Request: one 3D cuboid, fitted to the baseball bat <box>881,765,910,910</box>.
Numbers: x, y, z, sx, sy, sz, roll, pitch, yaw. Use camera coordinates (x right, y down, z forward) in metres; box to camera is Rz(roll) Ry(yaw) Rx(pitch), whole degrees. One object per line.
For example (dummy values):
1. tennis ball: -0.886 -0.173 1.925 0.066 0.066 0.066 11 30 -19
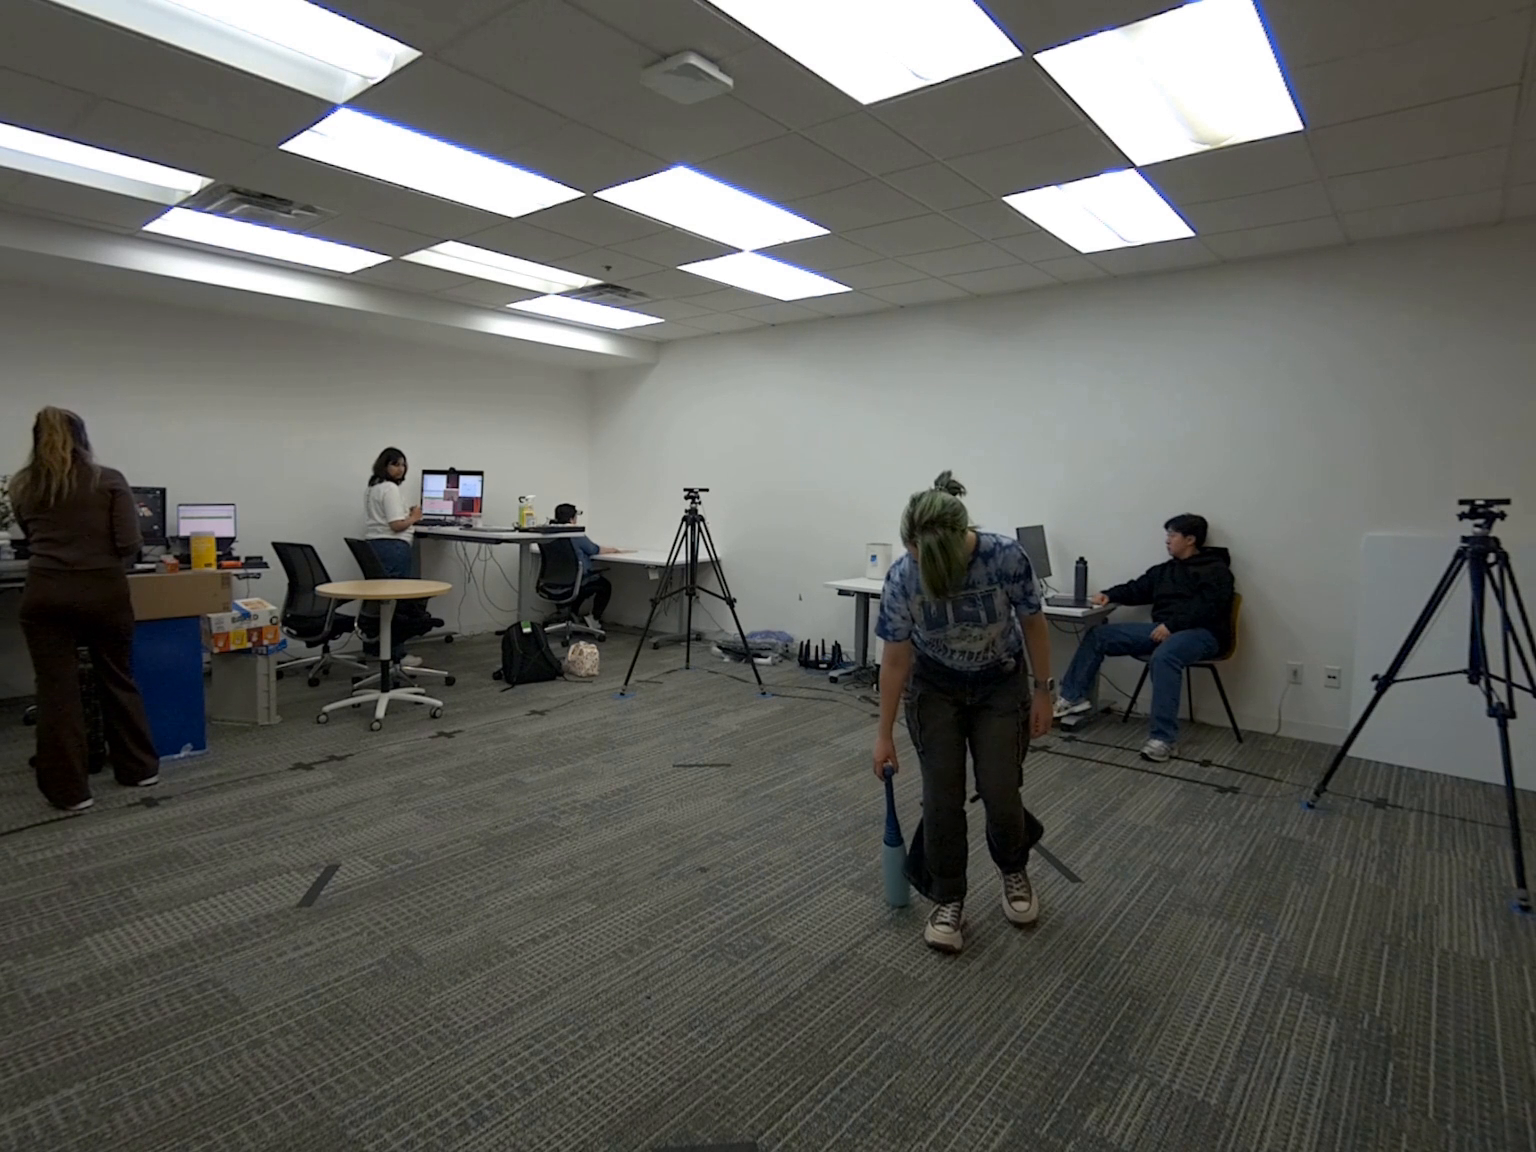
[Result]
1. baseball bat: 0.404 0.855 2.803 0.089 0.531 0.091 -7 20 1
